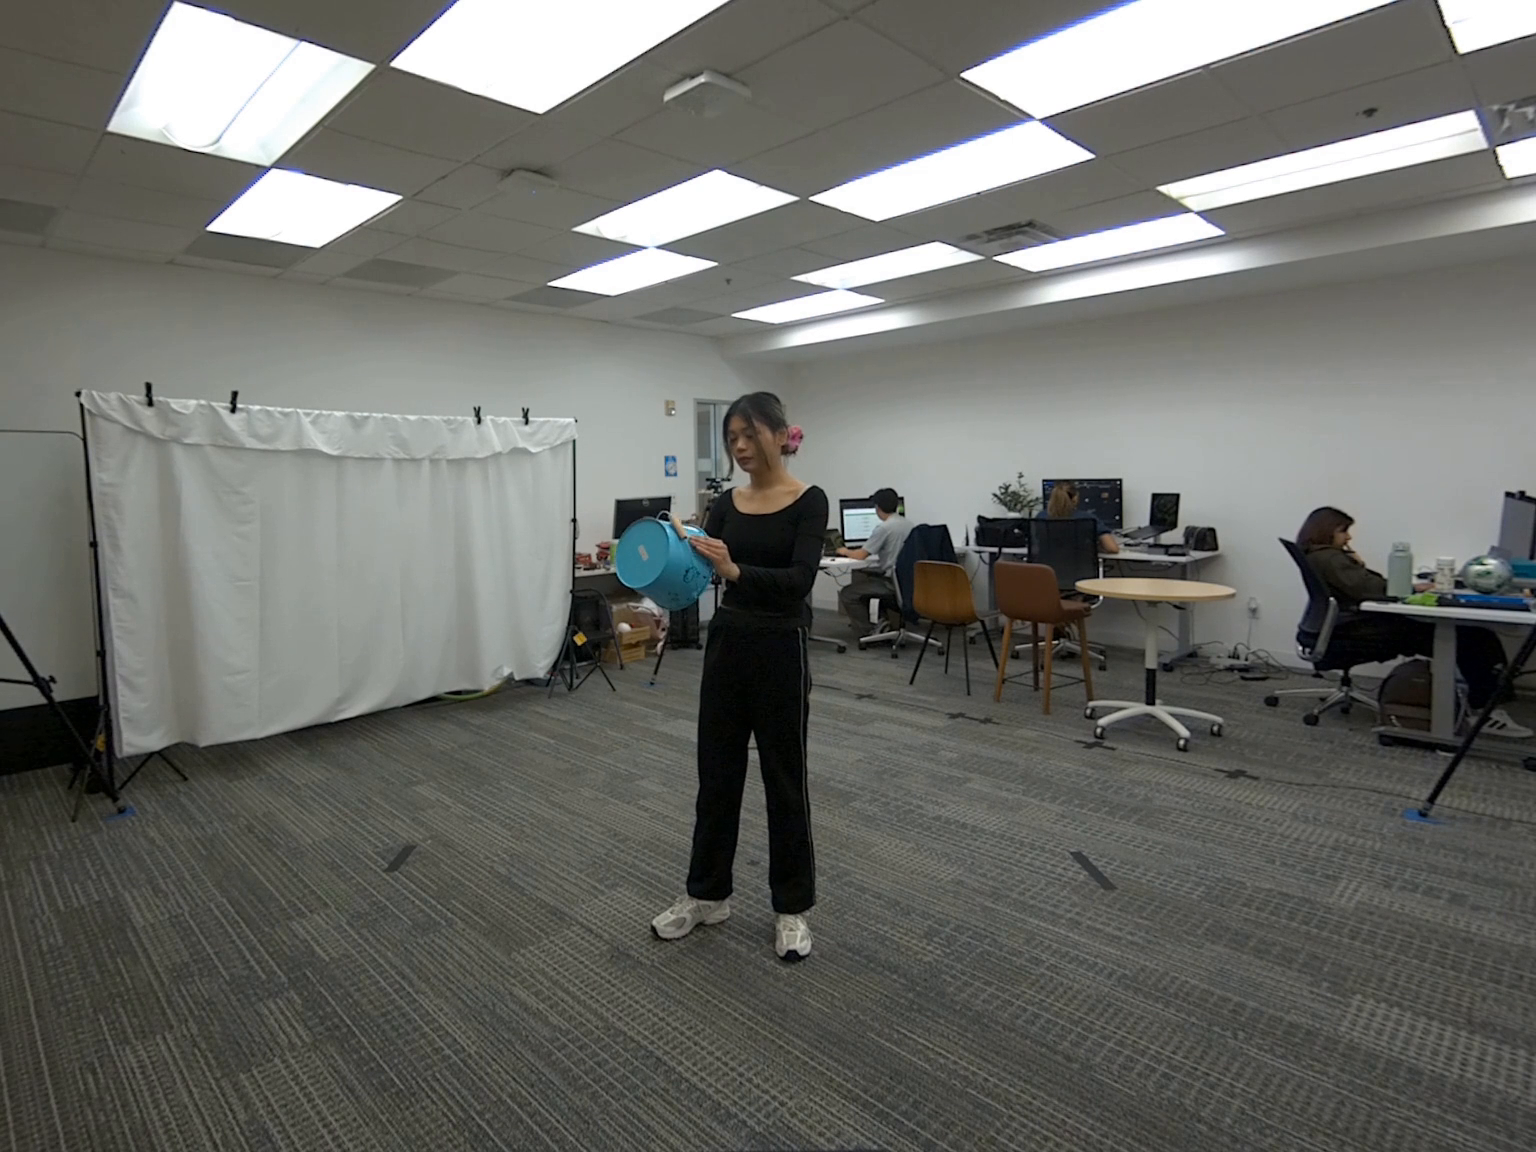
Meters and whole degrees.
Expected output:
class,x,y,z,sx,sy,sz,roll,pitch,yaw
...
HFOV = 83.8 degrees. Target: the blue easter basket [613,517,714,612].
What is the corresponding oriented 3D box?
class,x,y,z,sx,sy,sz,roll,pitch,yaw
blue easter basket,-0.271,-0.037,2.190,0.250,0.246,0.150,2,-14,36
